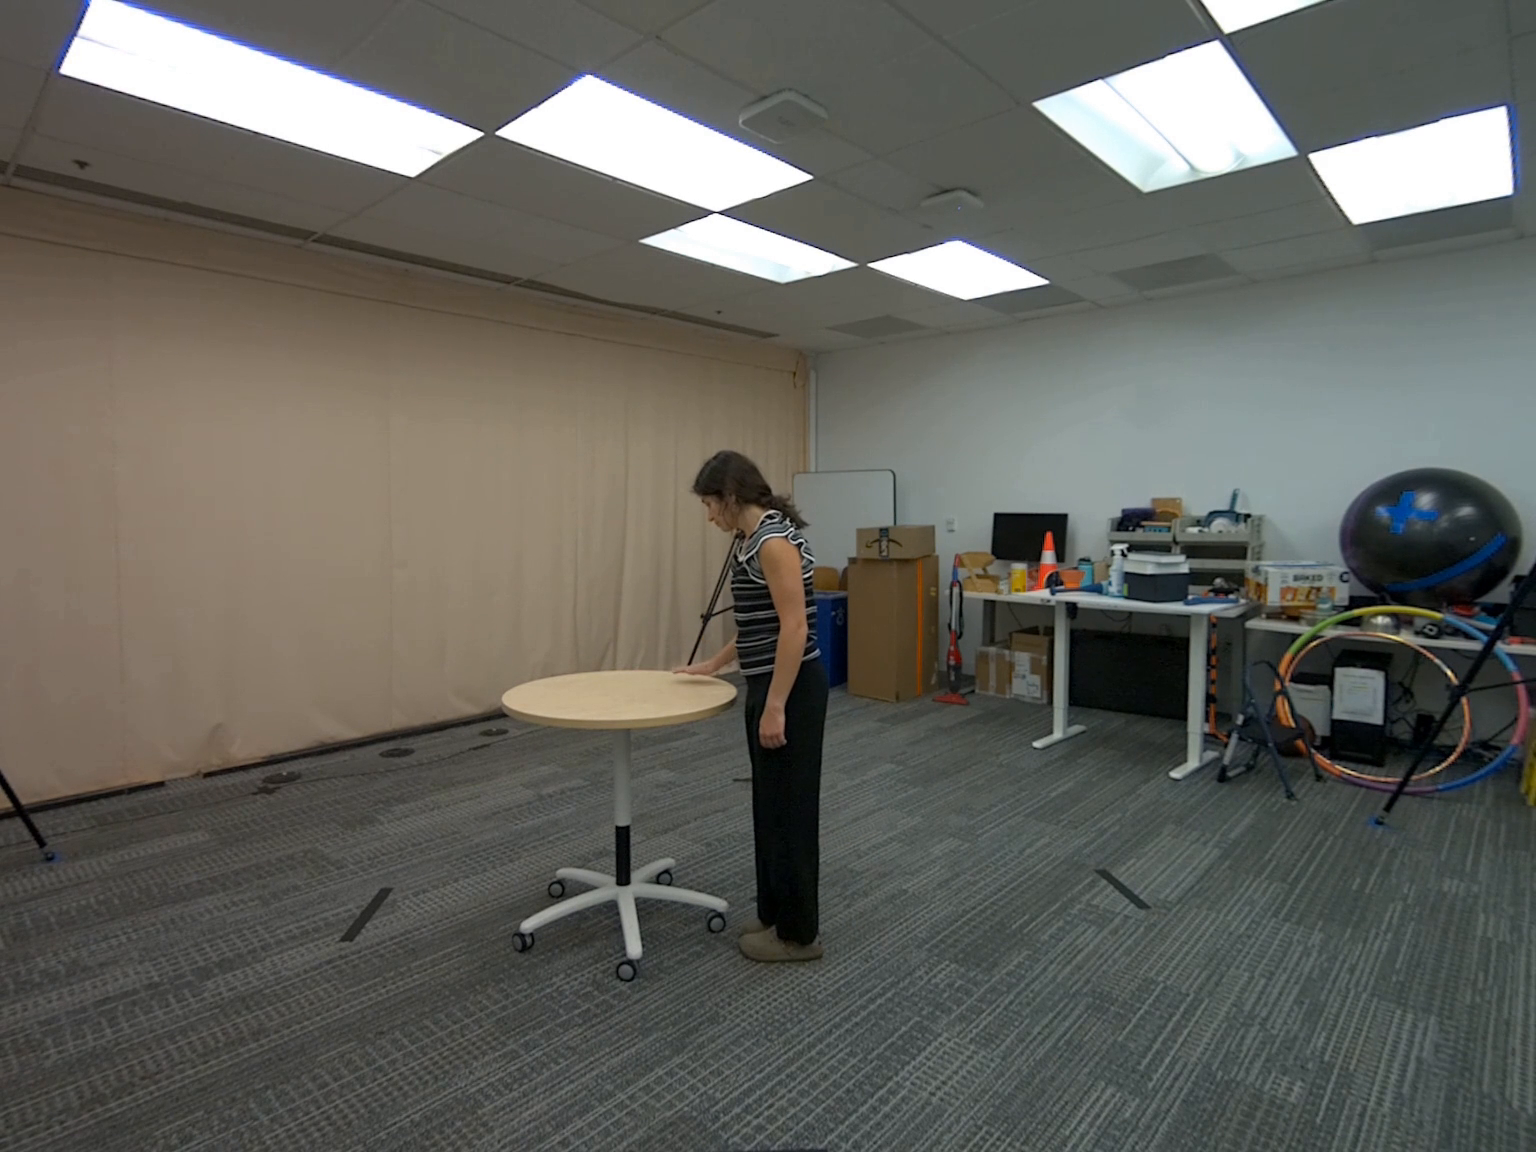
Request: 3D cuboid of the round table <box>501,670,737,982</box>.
[{"bbox_3d":[-0.486,0.778,2.789,0.763,0.792,0.766,0,3,-2],"label":"round table"}]
